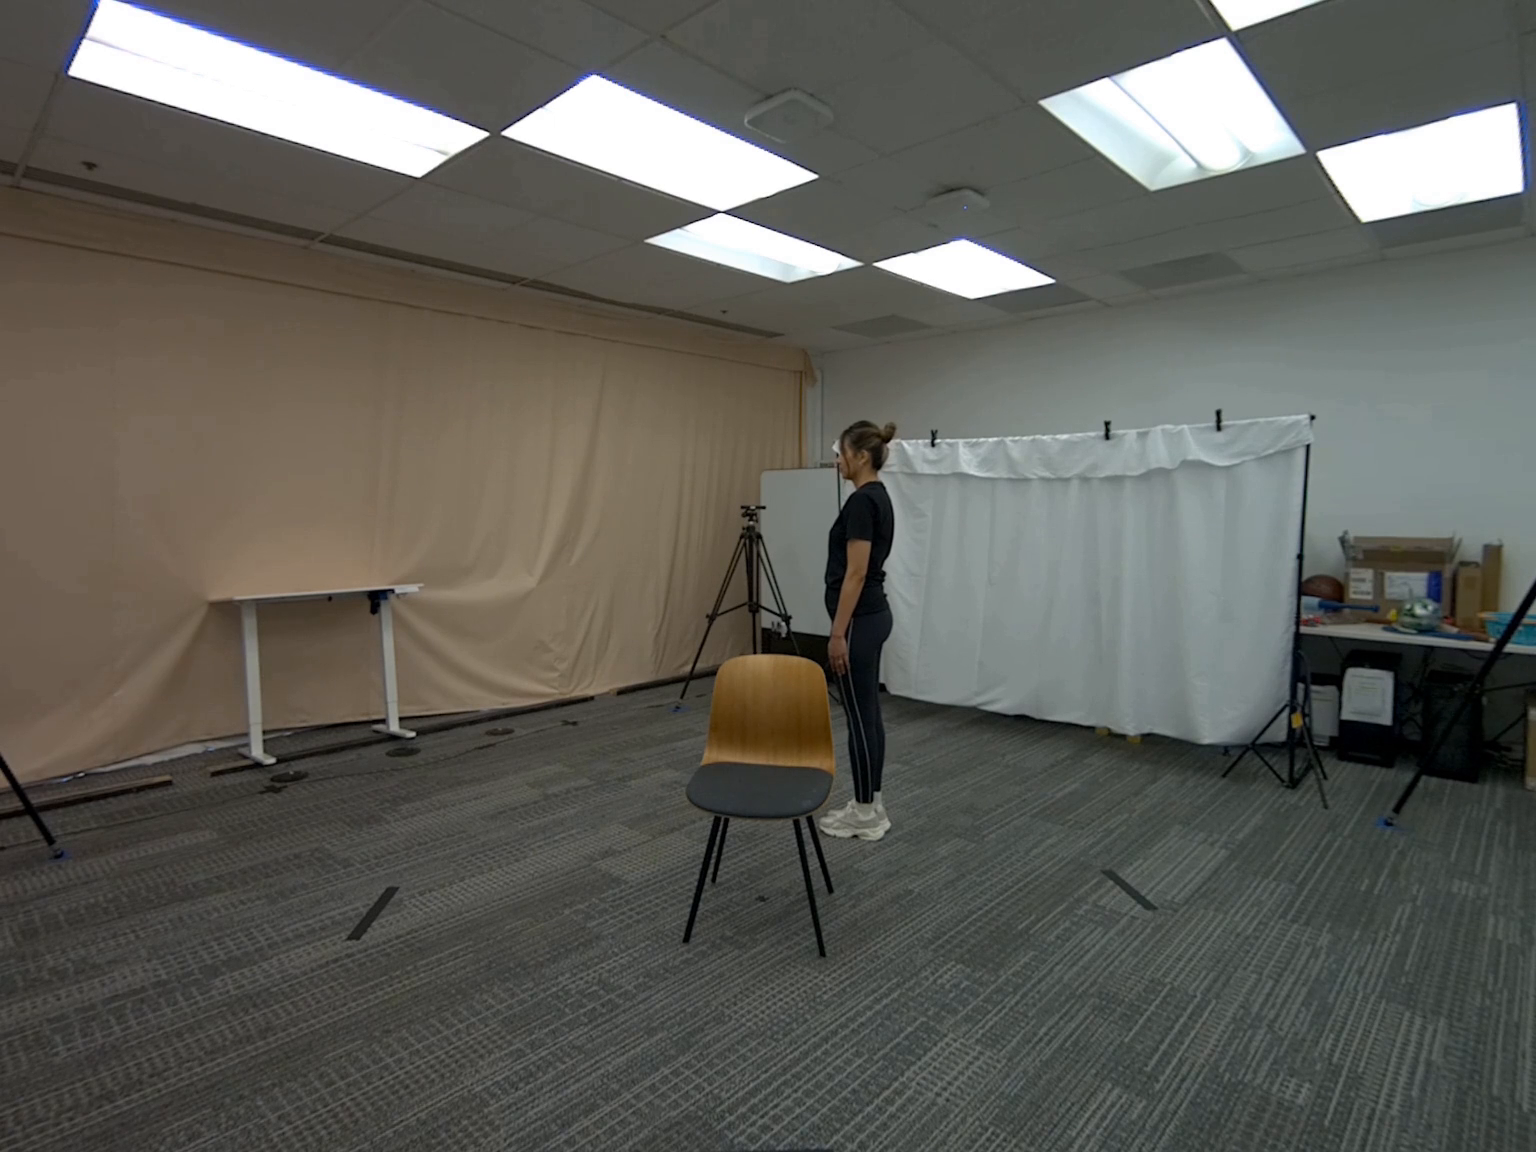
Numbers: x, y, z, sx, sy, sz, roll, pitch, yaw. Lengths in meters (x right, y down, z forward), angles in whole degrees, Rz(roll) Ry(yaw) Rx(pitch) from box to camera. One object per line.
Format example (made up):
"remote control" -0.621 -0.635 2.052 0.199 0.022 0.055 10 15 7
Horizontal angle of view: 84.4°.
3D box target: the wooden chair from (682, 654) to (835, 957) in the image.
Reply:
"wooden chair" -0.014 0.729 2.816 0.484 0.878 0.517 1 -1 10
